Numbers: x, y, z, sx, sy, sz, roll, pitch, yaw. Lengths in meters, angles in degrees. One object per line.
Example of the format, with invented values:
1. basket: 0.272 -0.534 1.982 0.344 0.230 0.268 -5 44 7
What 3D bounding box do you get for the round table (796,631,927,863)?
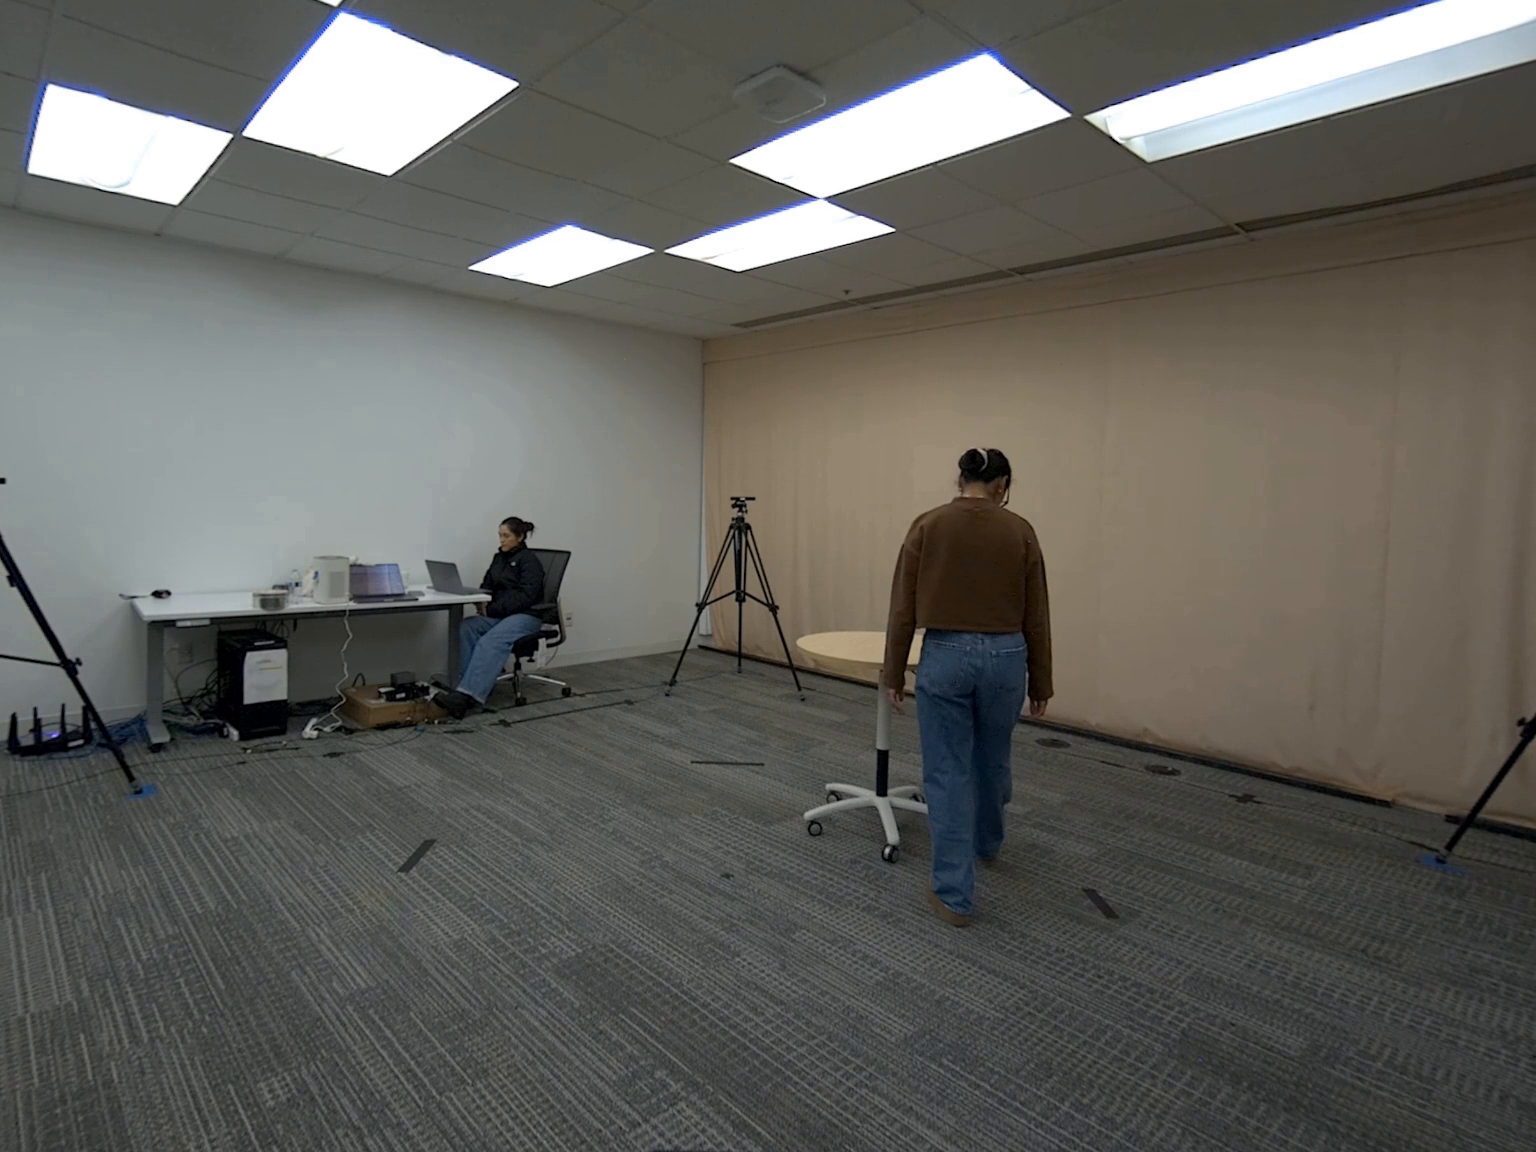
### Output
1. round table: 0.484 0.691 3.589 0.763 0.792 0.766 2 4 -1
